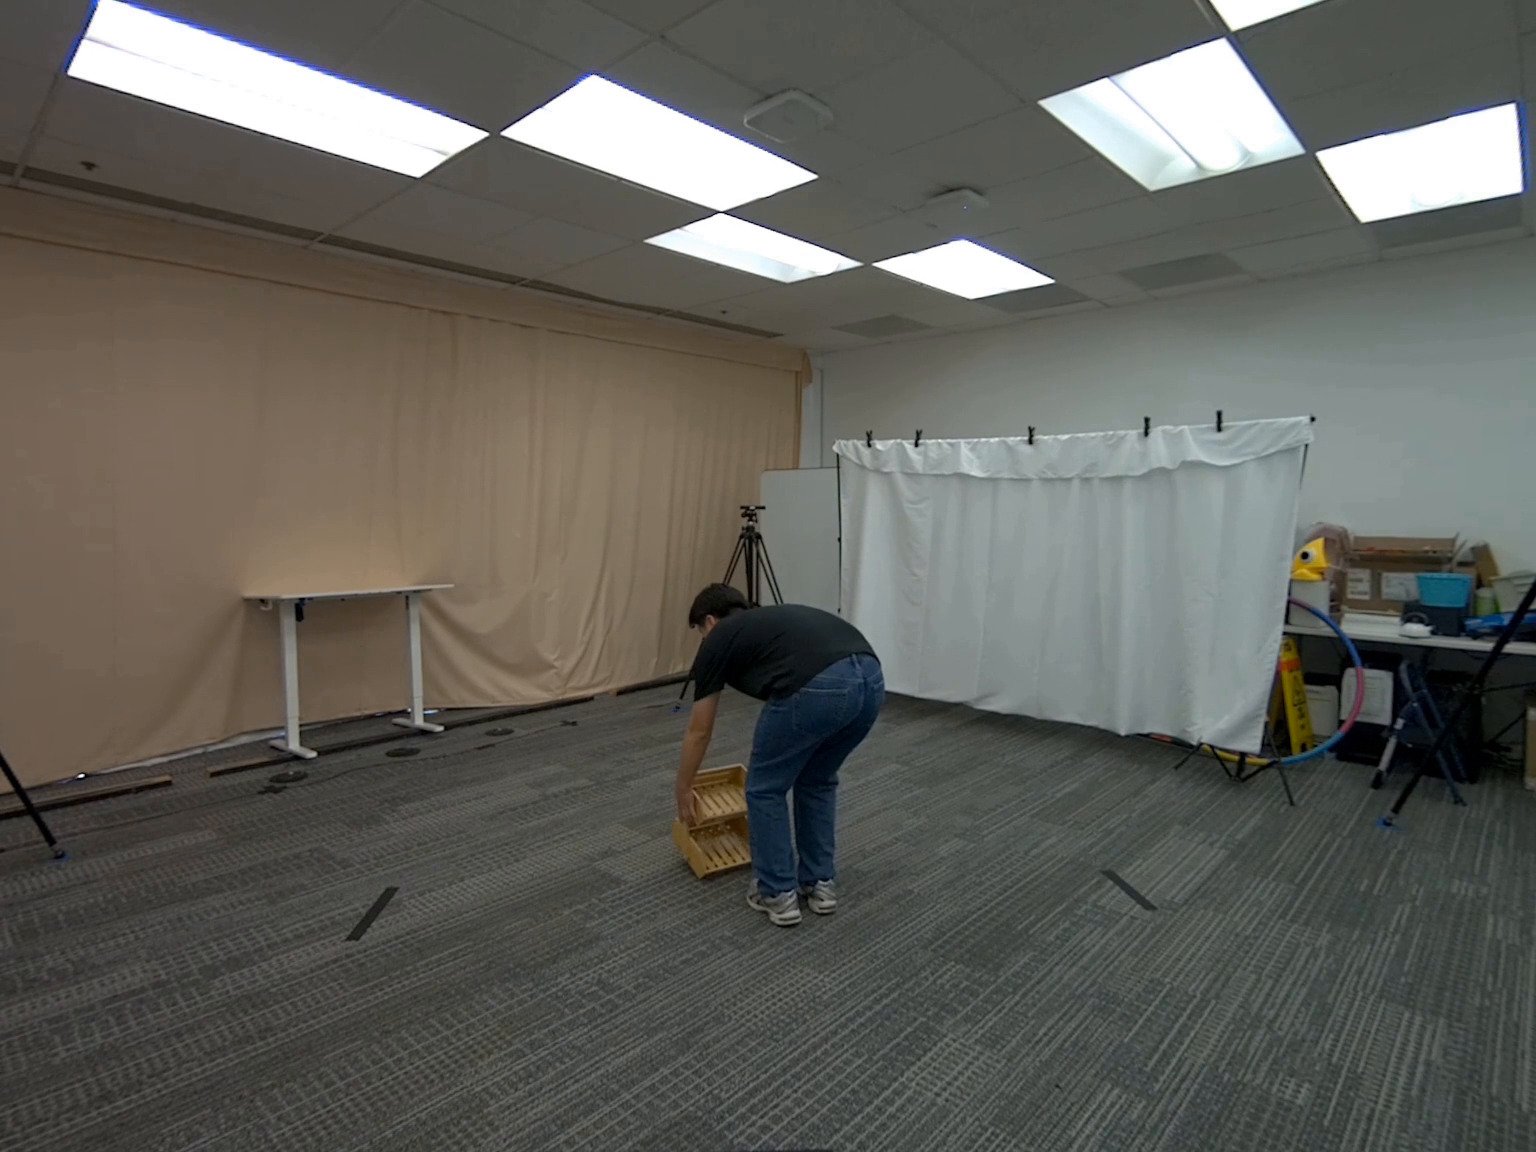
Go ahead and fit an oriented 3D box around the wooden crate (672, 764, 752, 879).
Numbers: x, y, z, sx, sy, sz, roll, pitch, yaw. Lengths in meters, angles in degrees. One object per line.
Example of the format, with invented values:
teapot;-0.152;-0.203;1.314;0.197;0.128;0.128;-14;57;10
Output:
wooden crate;-0.175;0.933;3.253;0.315;0.271;0.313;-1;25;-37
